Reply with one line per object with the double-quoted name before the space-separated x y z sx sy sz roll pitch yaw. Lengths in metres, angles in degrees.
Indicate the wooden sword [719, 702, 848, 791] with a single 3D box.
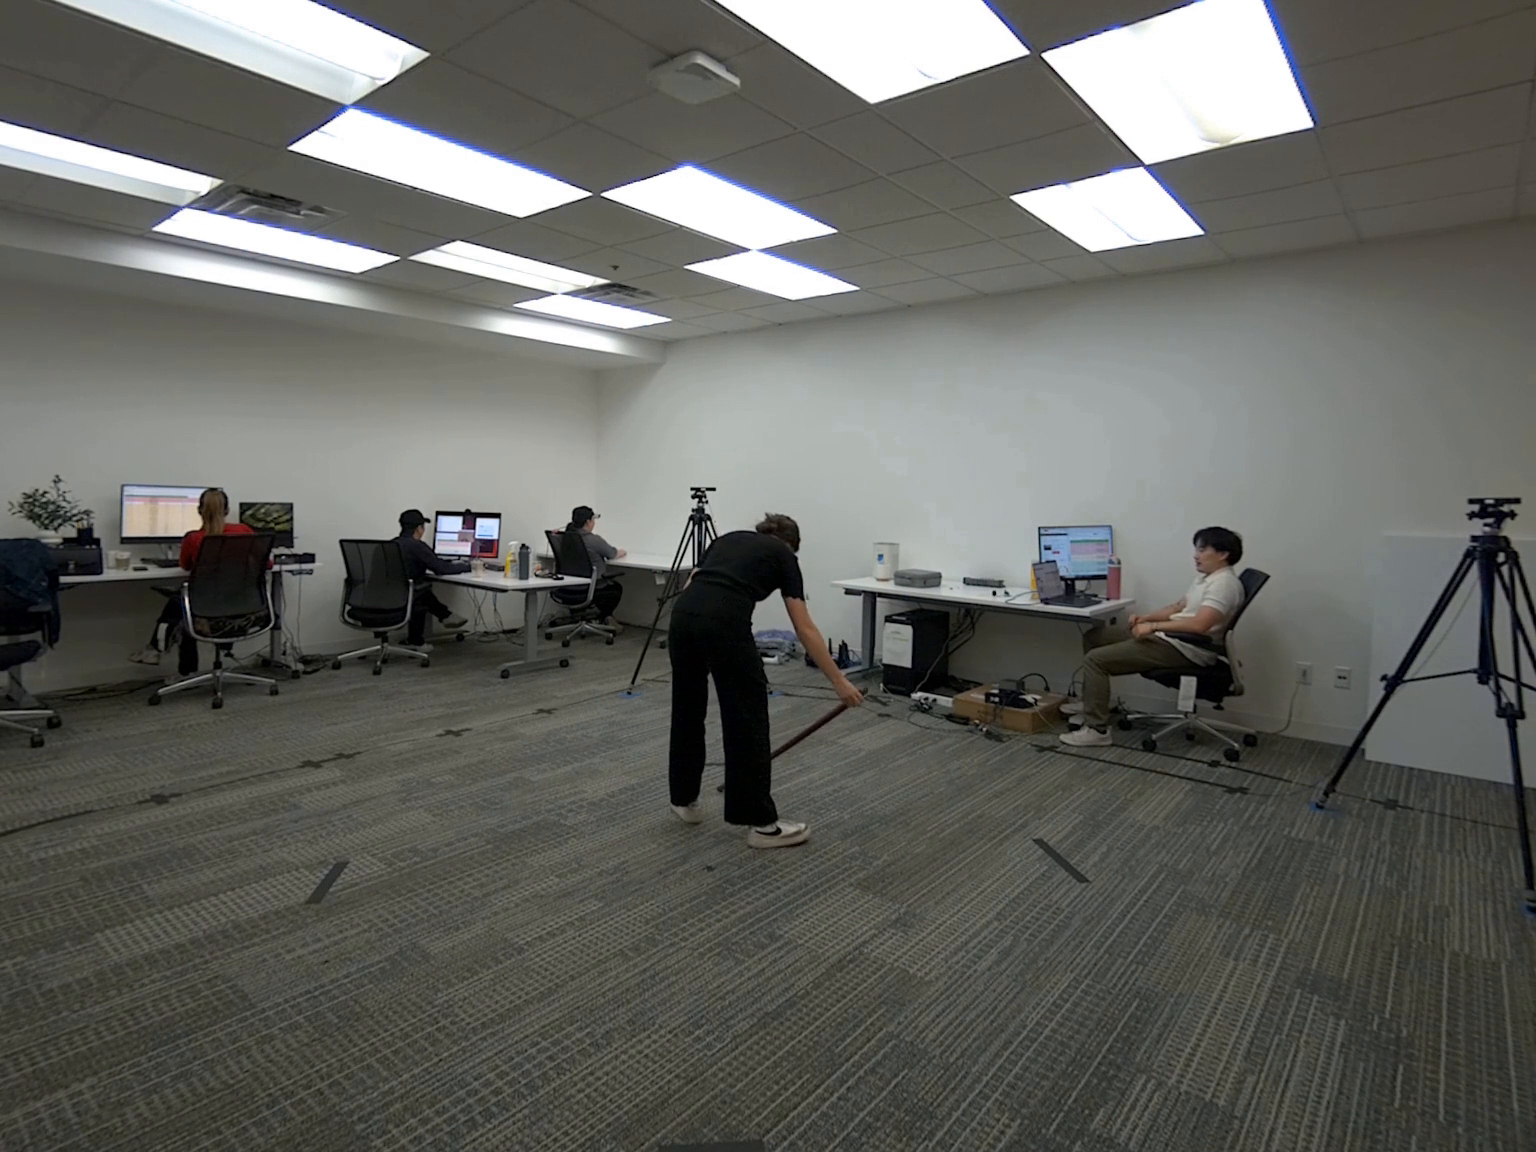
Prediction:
"wooden sword" 0.044 0.731 3.629 1.030 0.051 0.024 -39 2 39
